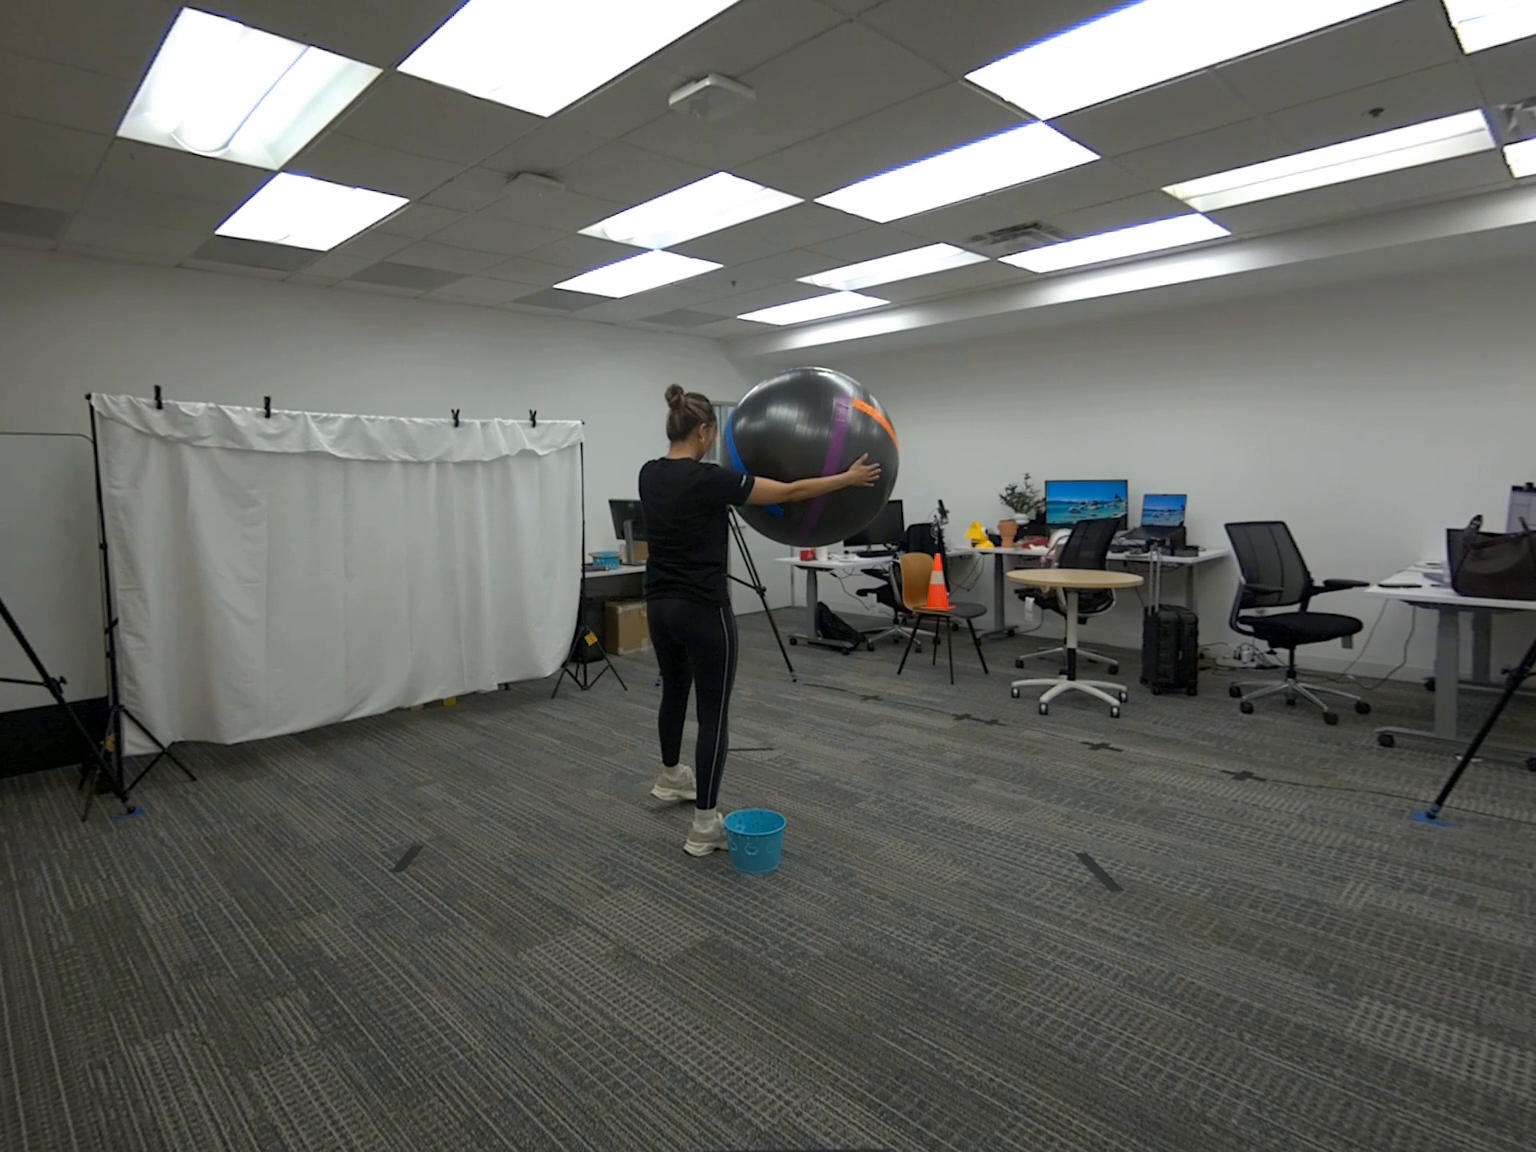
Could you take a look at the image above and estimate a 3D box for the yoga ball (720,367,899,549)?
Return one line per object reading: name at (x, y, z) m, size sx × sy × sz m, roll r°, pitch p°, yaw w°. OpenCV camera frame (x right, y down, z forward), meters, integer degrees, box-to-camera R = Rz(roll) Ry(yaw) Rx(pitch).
yoga ball at (0.169, -0.490, 3.632) m, size 0.757 × 0.755 × 0.762 m, roll -1°, pitch 5°, yaw -2°
